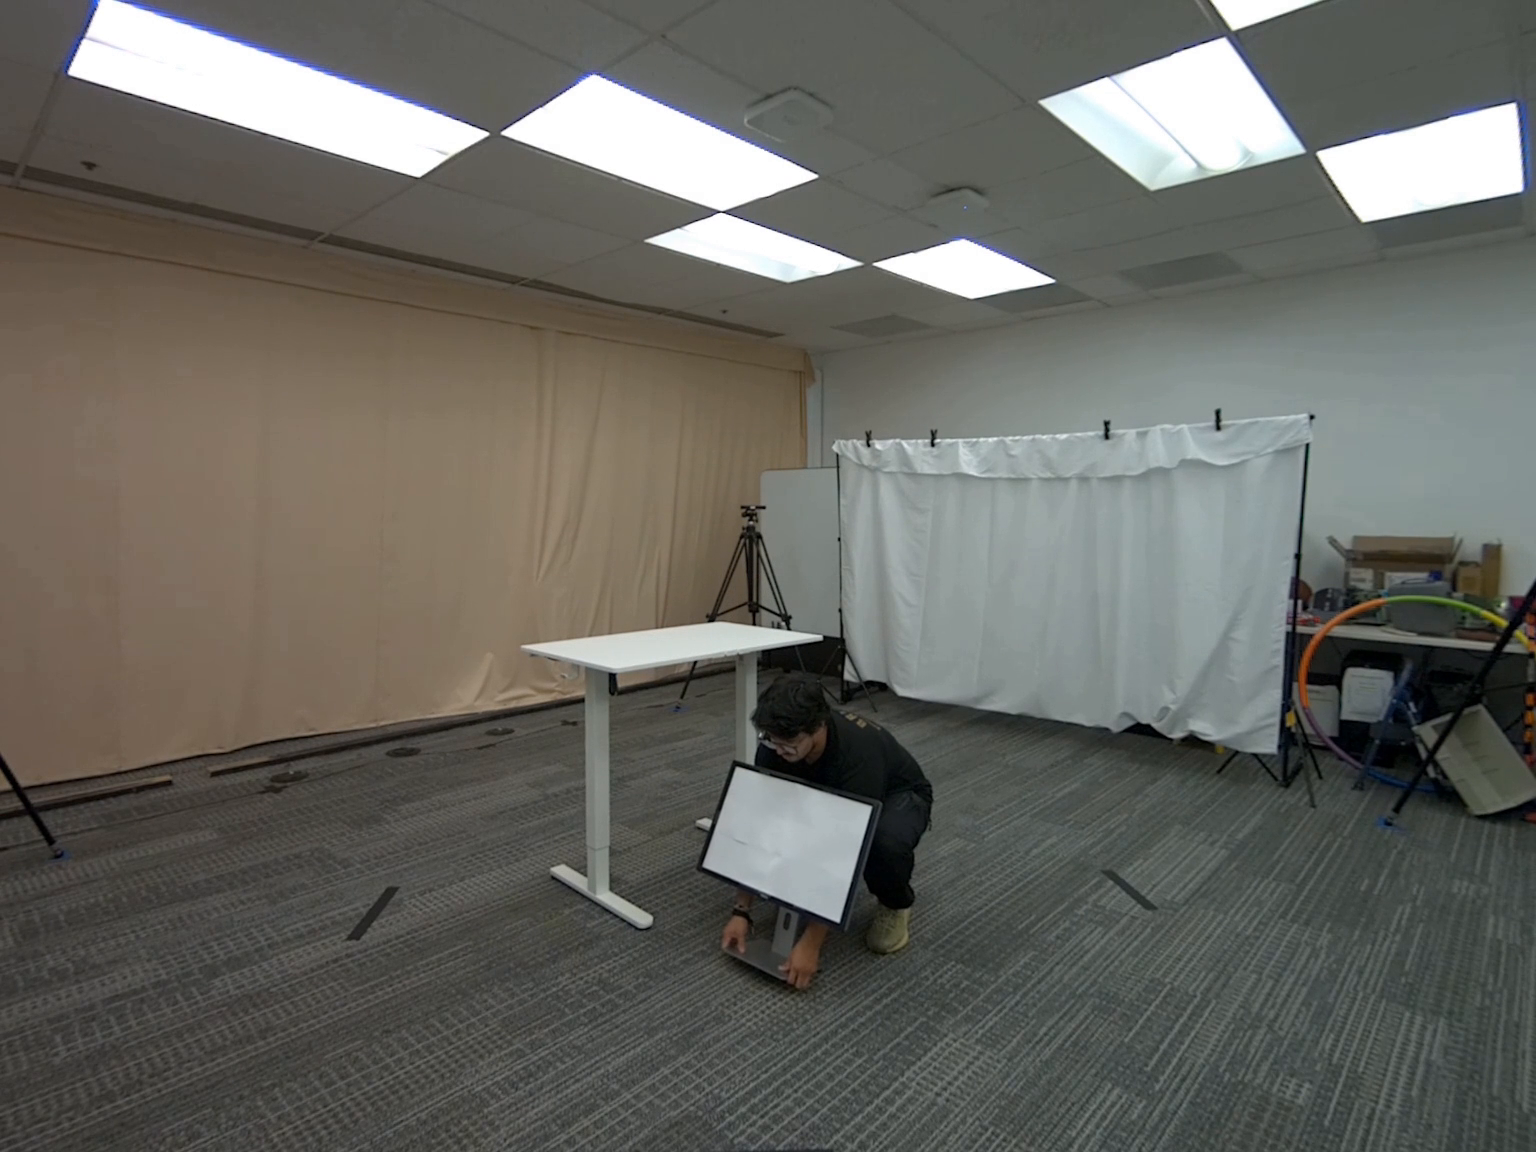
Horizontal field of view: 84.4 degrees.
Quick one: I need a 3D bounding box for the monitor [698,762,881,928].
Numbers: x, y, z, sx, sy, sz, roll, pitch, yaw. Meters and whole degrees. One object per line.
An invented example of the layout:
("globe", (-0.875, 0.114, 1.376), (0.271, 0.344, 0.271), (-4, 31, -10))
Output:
("monitor", (0.073, 0.898, 2.588), (0.584, 0.556, 0.202), (4, -15, 41))
